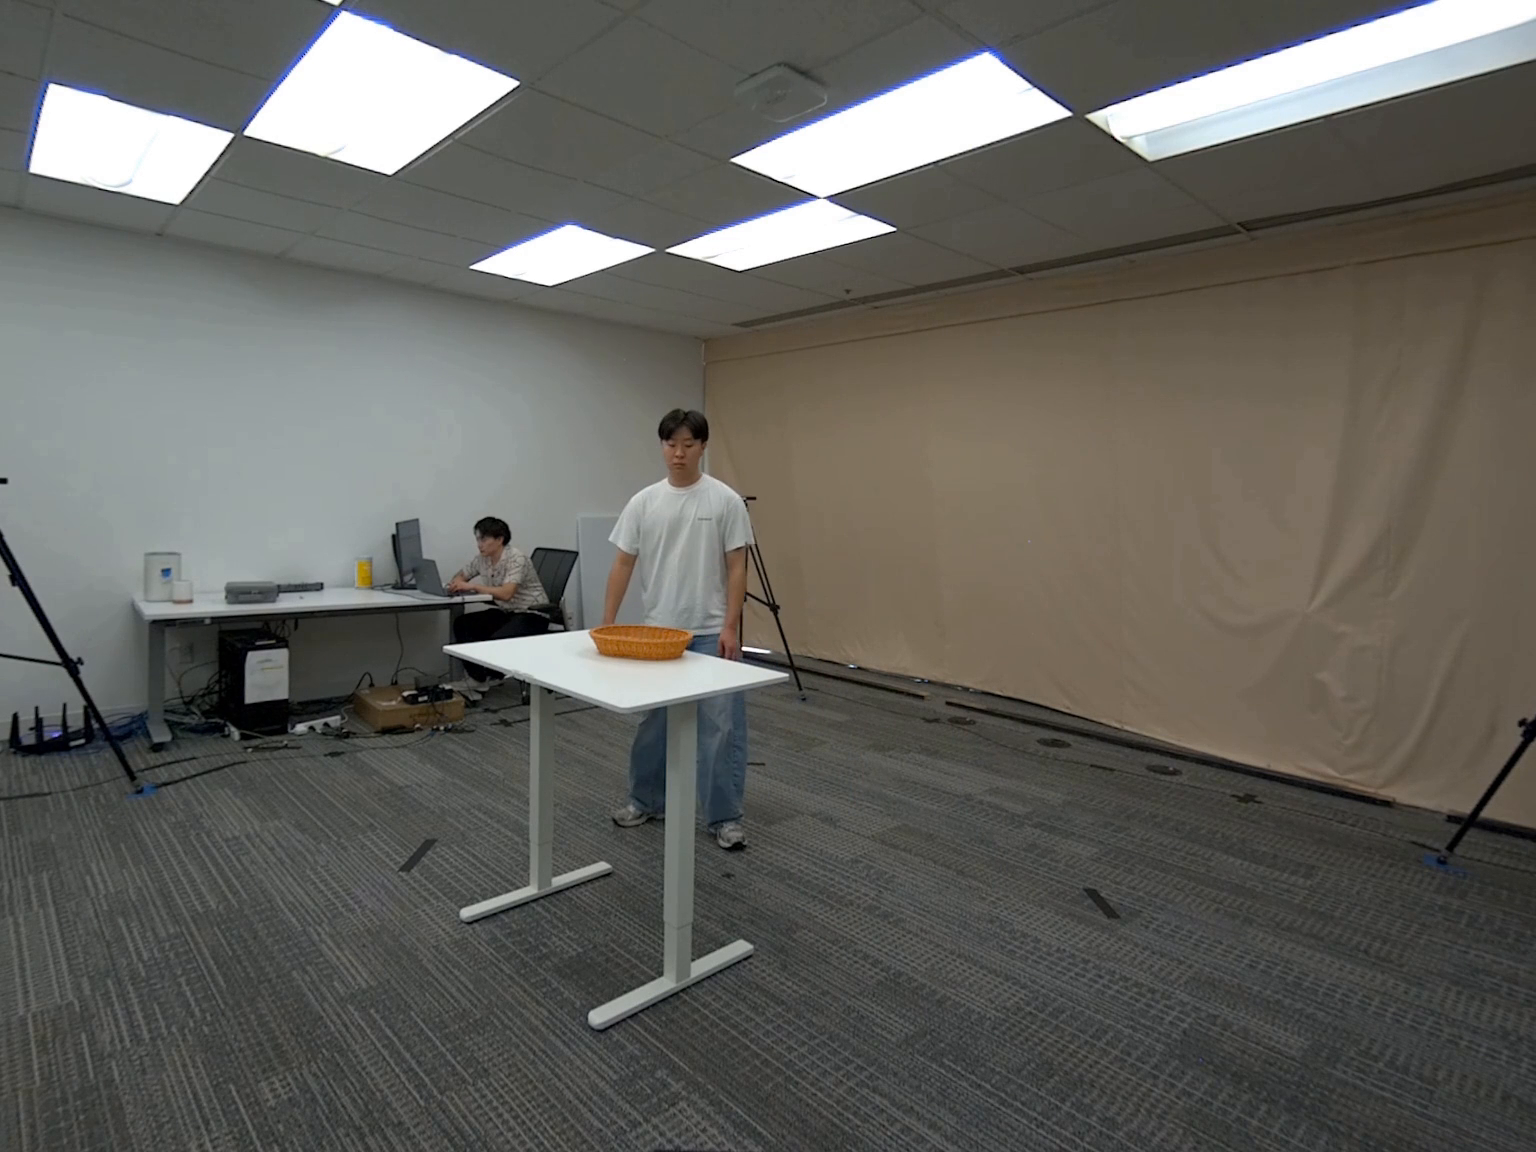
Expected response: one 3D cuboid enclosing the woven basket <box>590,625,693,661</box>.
[{"bbox_3d":[-0.442,0.224,2.709,0.357,0.073,0.248,4,5,25],"label":"woven basket"}]
